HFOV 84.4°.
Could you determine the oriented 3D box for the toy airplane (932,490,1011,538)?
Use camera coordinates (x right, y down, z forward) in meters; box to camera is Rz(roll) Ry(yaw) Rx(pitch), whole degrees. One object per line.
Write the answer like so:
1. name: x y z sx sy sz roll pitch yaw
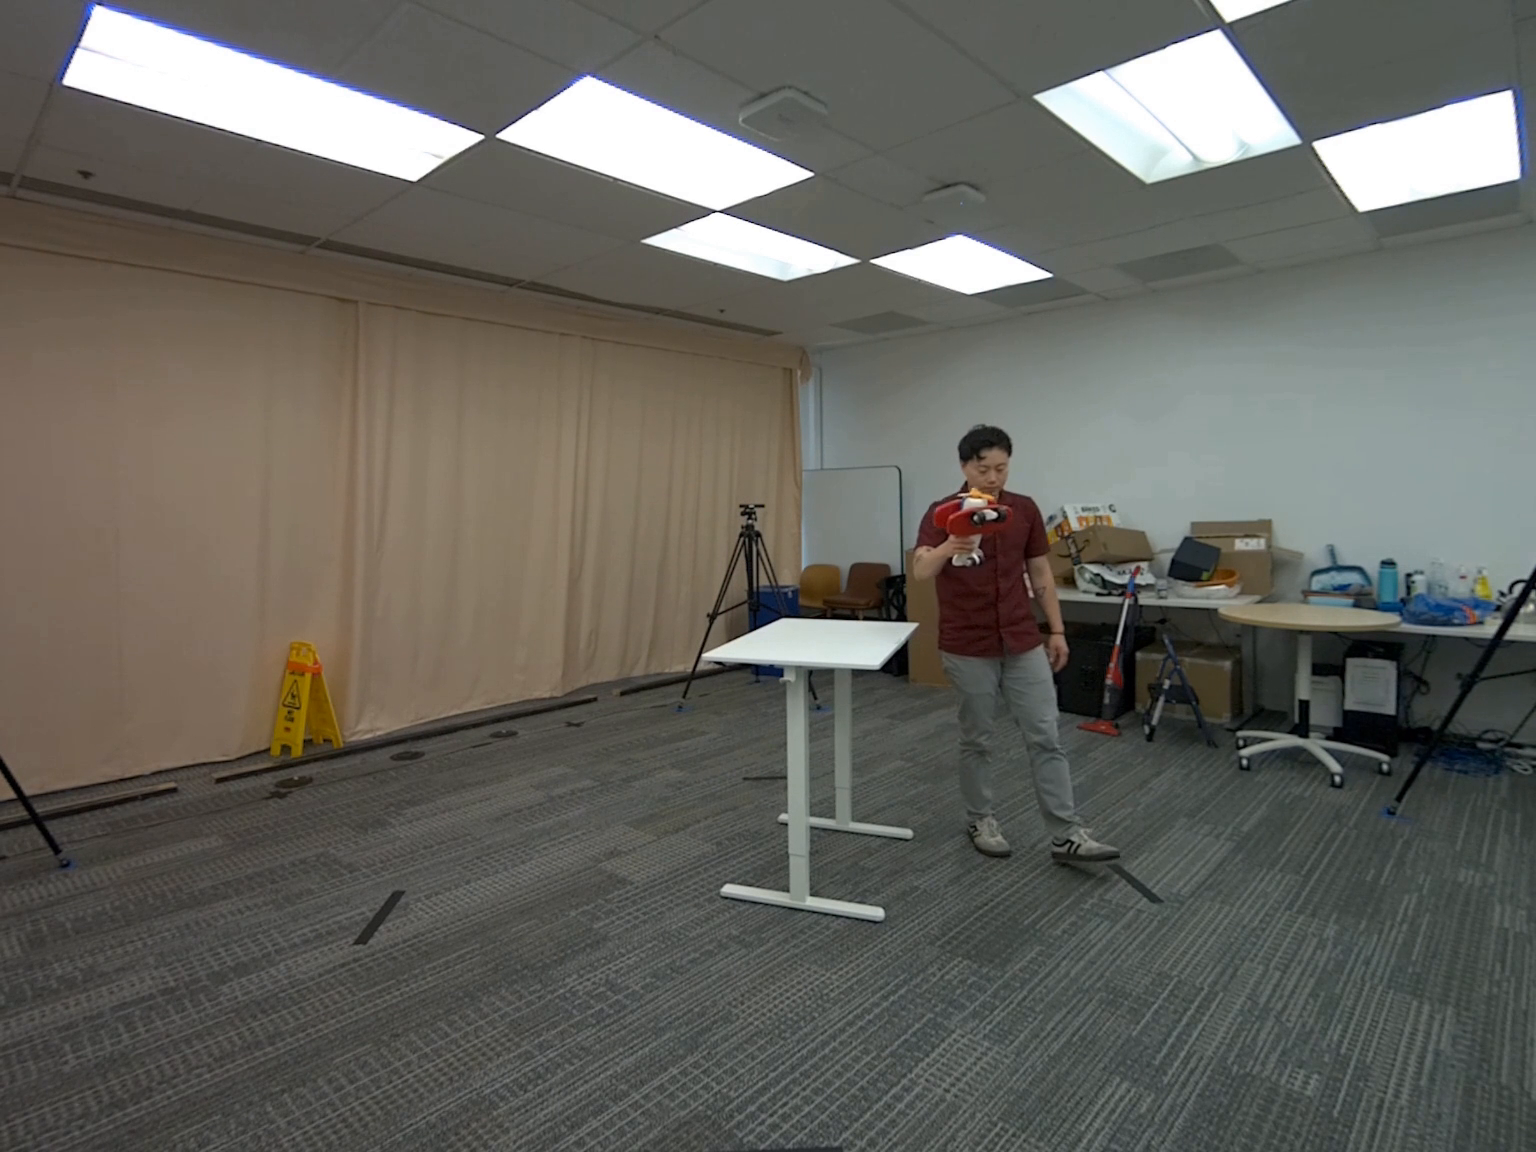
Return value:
1. toy airplane: 0.689 -0.159 2.841 0.243 0.259 0.161 17 25 -35
